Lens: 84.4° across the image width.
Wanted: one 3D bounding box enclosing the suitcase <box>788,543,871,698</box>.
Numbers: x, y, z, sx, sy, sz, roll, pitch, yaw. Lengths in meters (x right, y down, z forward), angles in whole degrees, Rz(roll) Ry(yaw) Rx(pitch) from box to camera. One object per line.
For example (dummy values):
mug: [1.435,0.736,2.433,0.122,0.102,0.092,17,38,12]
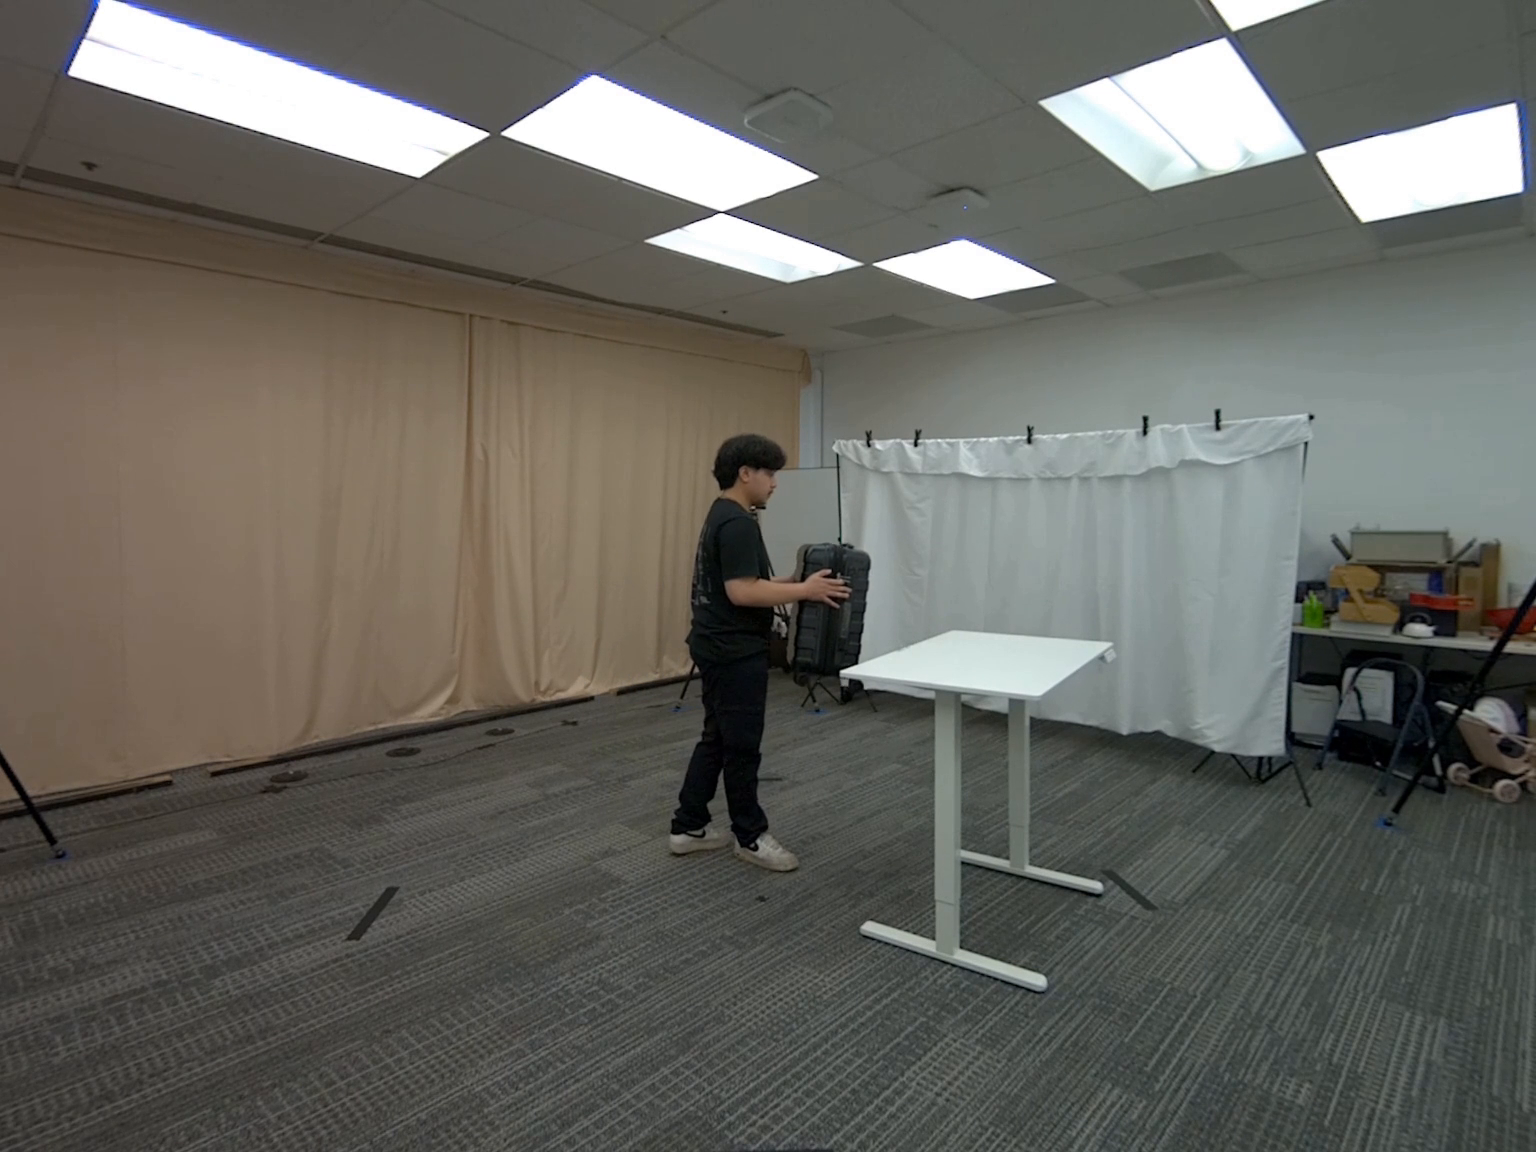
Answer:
suitcase: [0.239,0.138,3.312,0.248,0.548,0.377,6,3,-4]
